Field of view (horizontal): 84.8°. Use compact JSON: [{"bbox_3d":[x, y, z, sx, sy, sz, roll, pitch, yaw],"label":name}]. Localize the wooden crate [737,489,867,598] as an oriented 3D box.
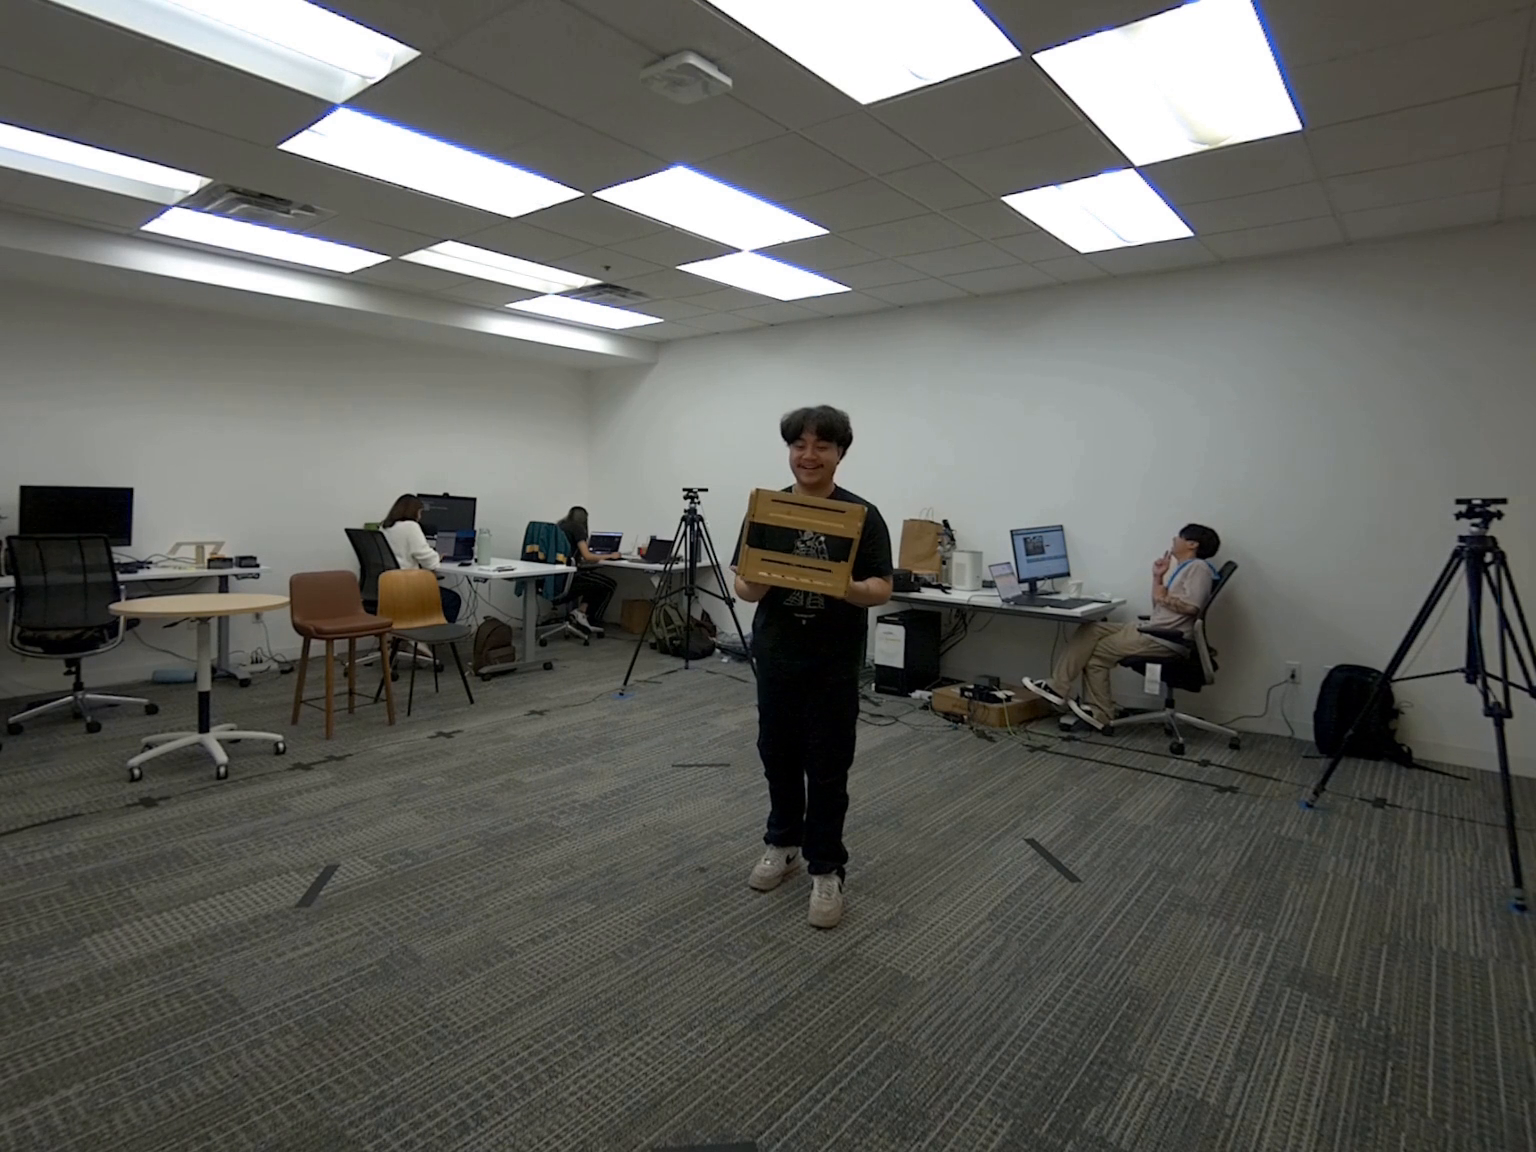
[{"bbox_3d":[0.084,-0.113,2.471,0.324,0.272,0.303,10,6,-1],"label":"wooden crate"}]
